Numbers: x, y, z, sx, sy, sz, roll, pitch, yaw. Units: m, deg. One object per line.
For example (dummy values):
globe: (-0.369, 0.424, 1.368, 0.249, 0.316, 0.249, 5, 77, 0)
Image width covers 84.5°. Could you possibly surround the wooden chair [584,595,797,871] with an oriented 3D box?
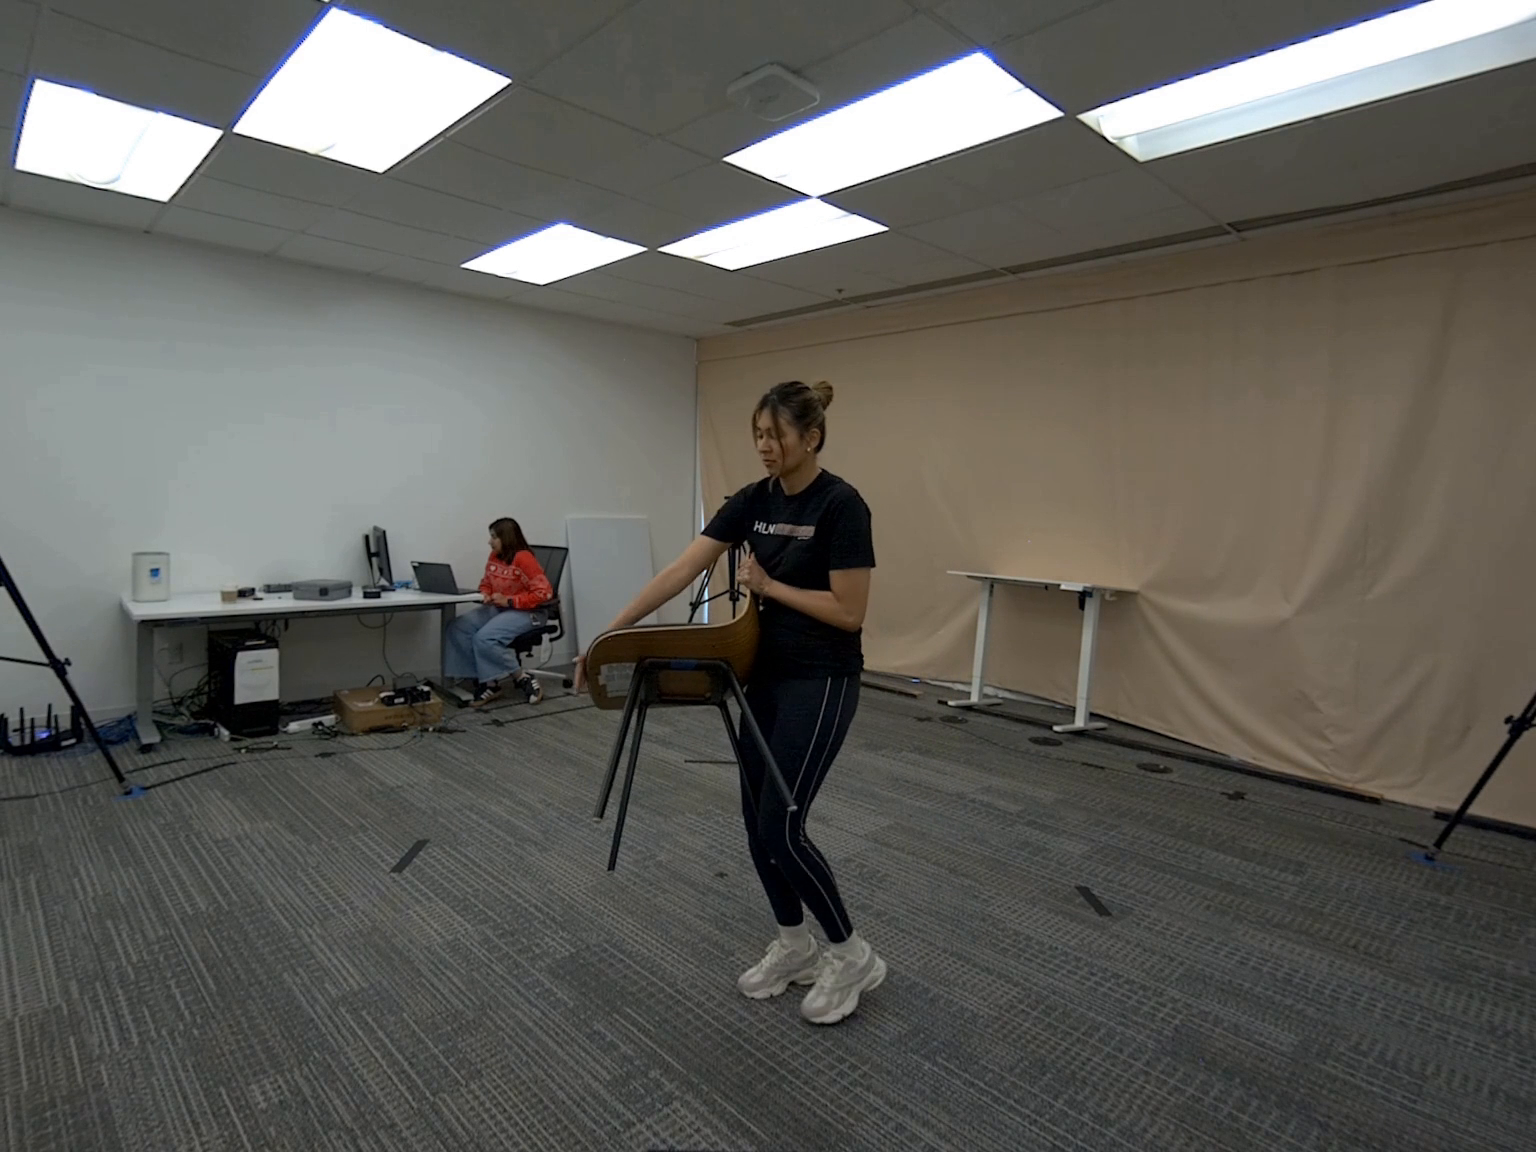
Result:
wooden chair: (-0.232, 0.307, 2.301, 0.521, 0.896, 0.470, 1, -34, -6)
